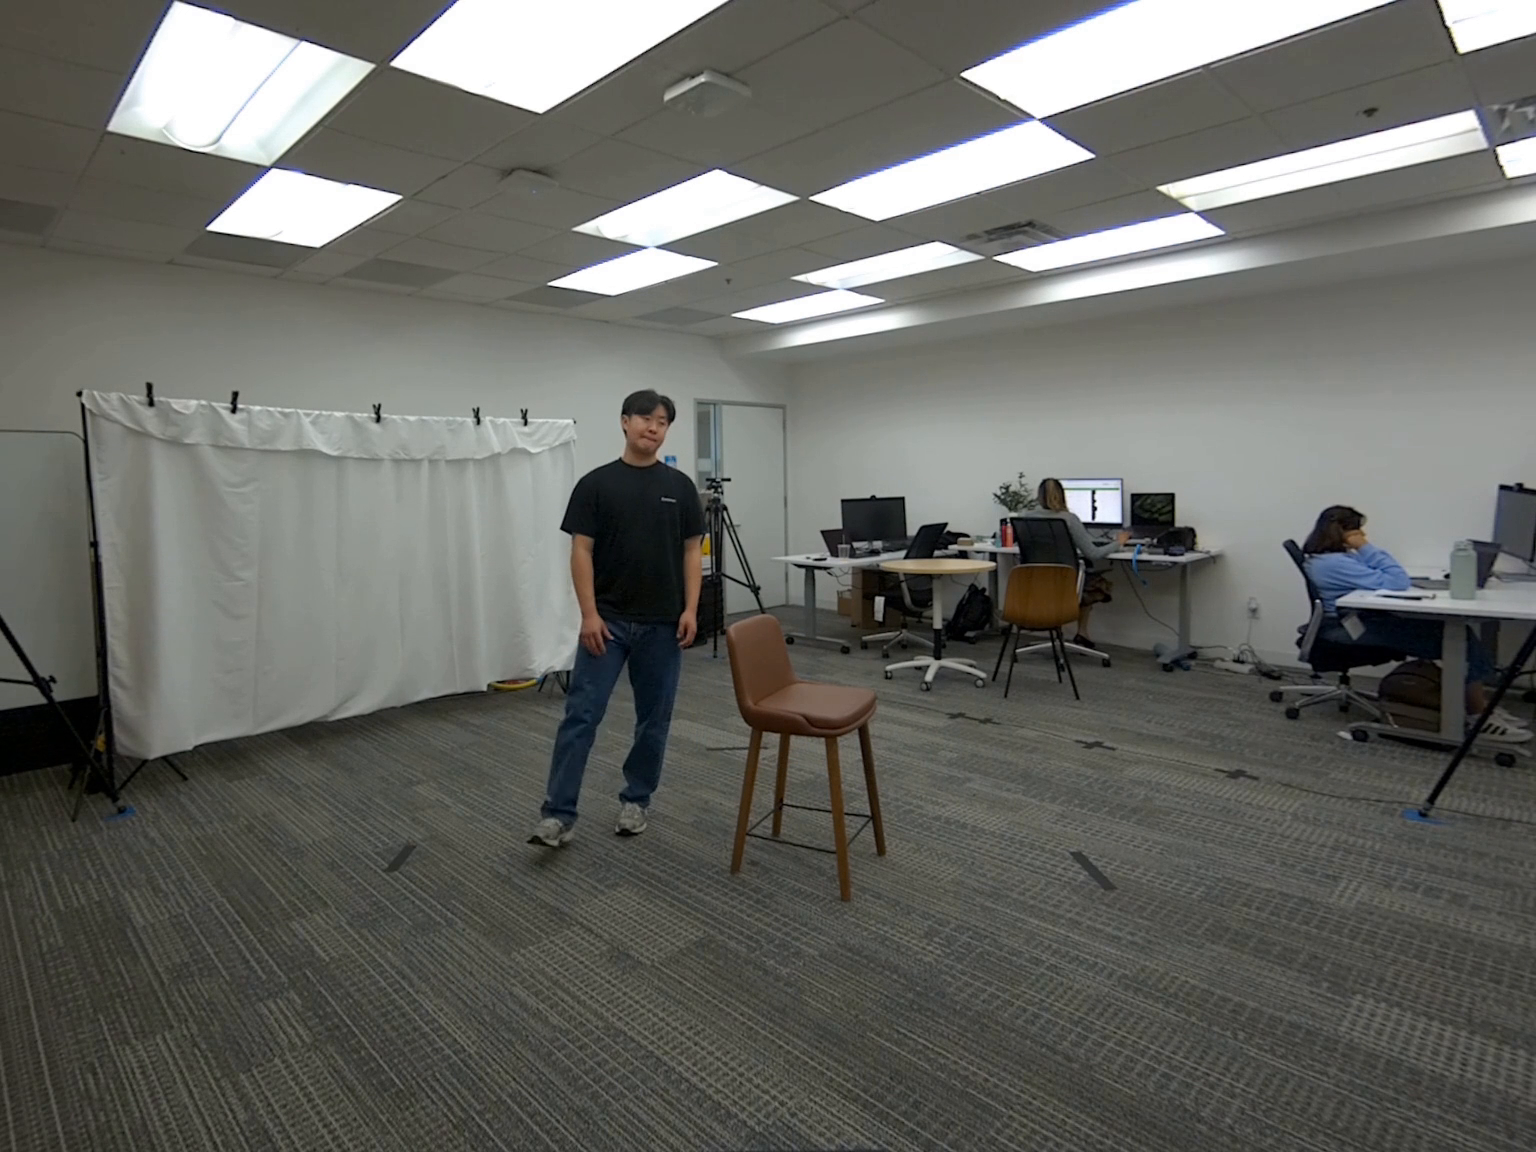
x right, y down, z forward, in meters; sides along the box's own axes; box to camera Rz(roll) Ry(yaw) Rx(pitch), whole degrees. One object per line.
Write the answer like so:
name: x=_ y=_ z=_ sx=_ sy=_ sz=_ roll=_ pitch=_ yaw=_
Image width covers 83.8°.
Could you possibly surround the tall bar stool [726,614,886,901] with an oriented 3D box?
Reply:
tall bar stool: x=0.136 y=0.606 z=3.066 sx=0.479 sy=0.888 sz=0.446 roll=-1 pitch=3 yaw=28
